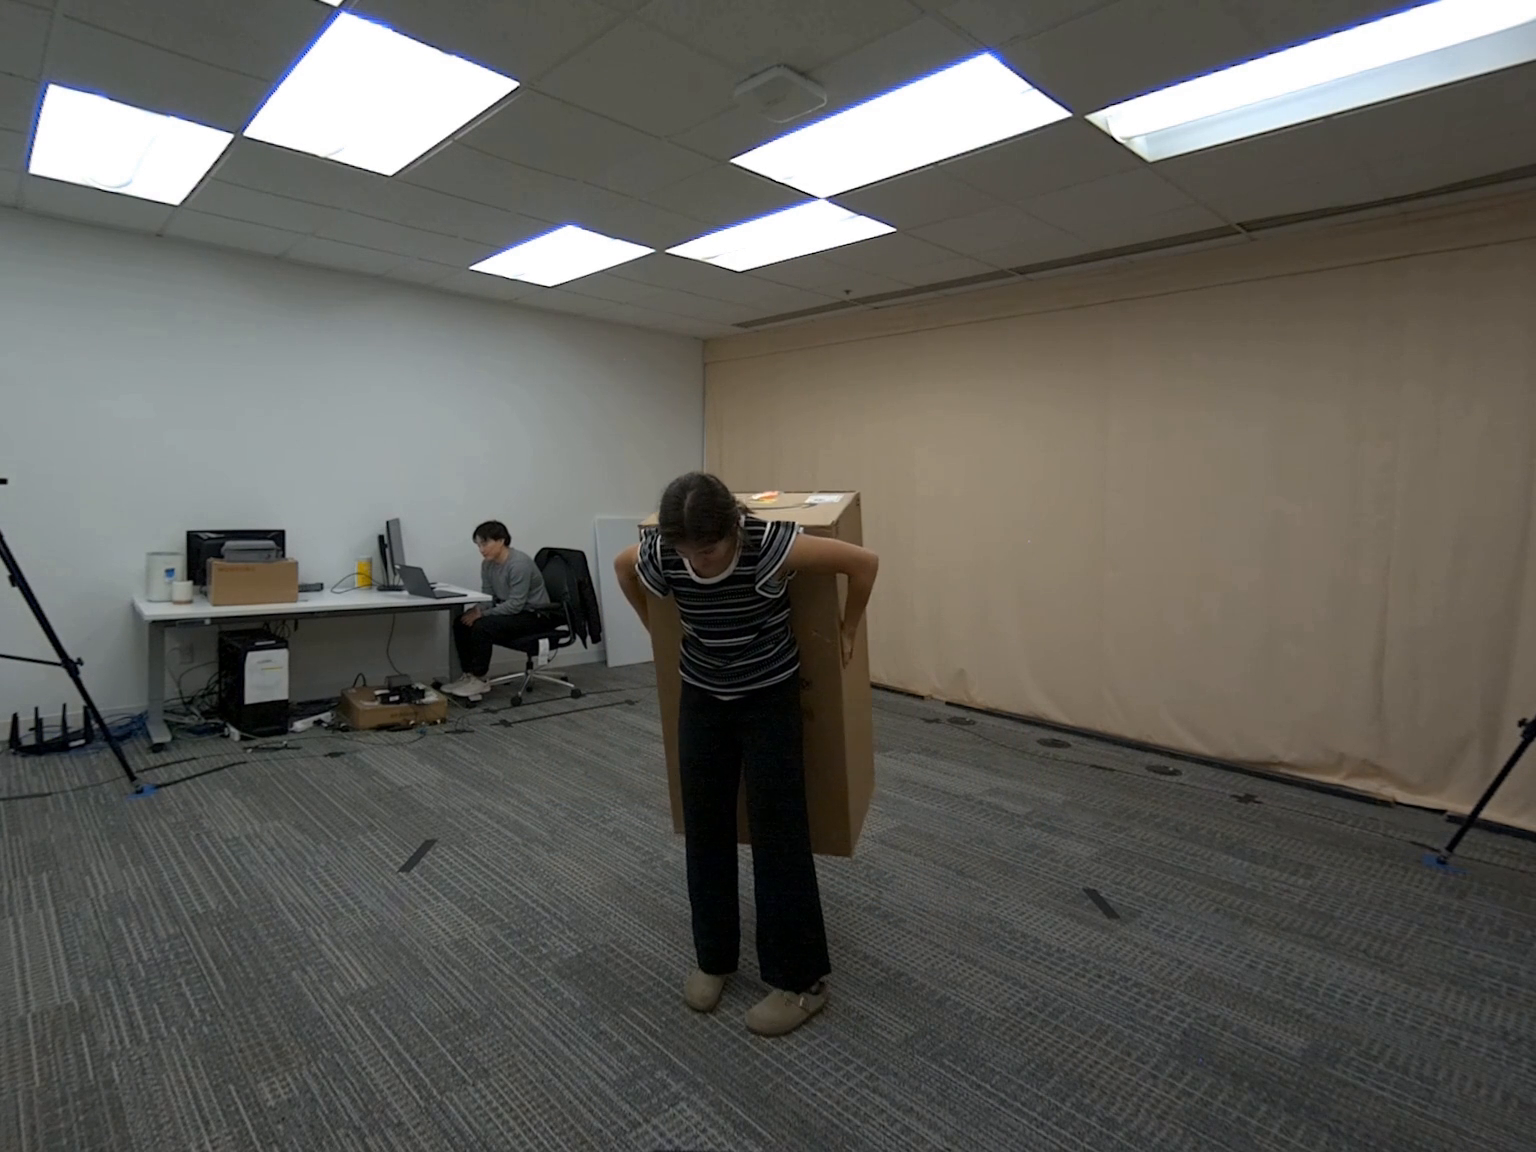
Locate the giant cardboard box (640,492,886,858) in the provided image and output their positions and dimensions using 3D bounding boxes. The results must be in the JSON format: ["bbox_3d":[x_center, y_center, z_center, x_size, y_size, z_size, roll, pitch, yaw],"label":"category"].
[{"bbox_3d":[0.000,0.285,2.635,0.586,1.014,0.425,1,16,19],"label":"giant cardboard box"}]
